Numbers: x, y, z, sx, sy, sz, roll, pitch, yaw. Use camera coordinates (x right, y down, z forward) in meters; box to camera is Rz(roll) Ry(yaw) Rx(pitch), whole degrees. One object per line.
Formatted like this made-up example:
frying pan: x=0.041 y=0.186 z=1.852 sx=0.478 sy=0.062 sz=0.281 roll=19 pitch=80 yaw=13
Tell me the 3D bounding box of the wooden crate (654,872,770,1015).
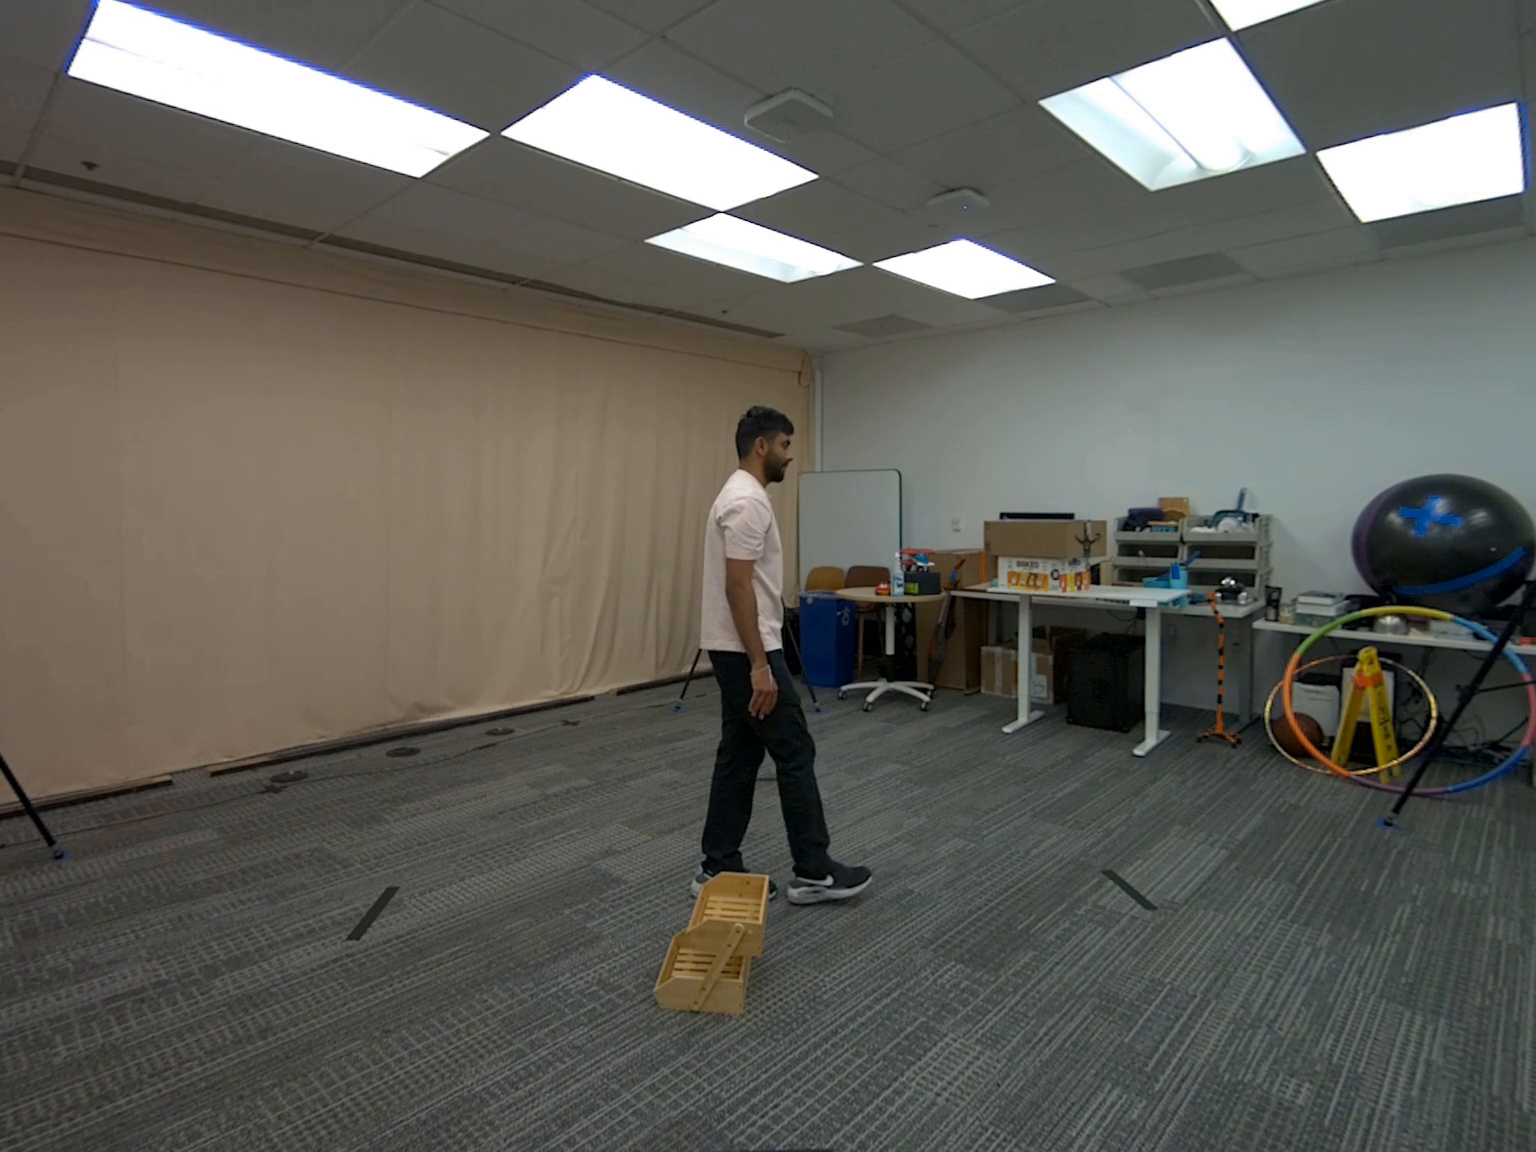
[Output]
wooden crate: x=-0.162 y=1.048 z=2.462 sx=0.304 sy=0.273 sz=0.323 roll=1 pitch=4 yaw=5
